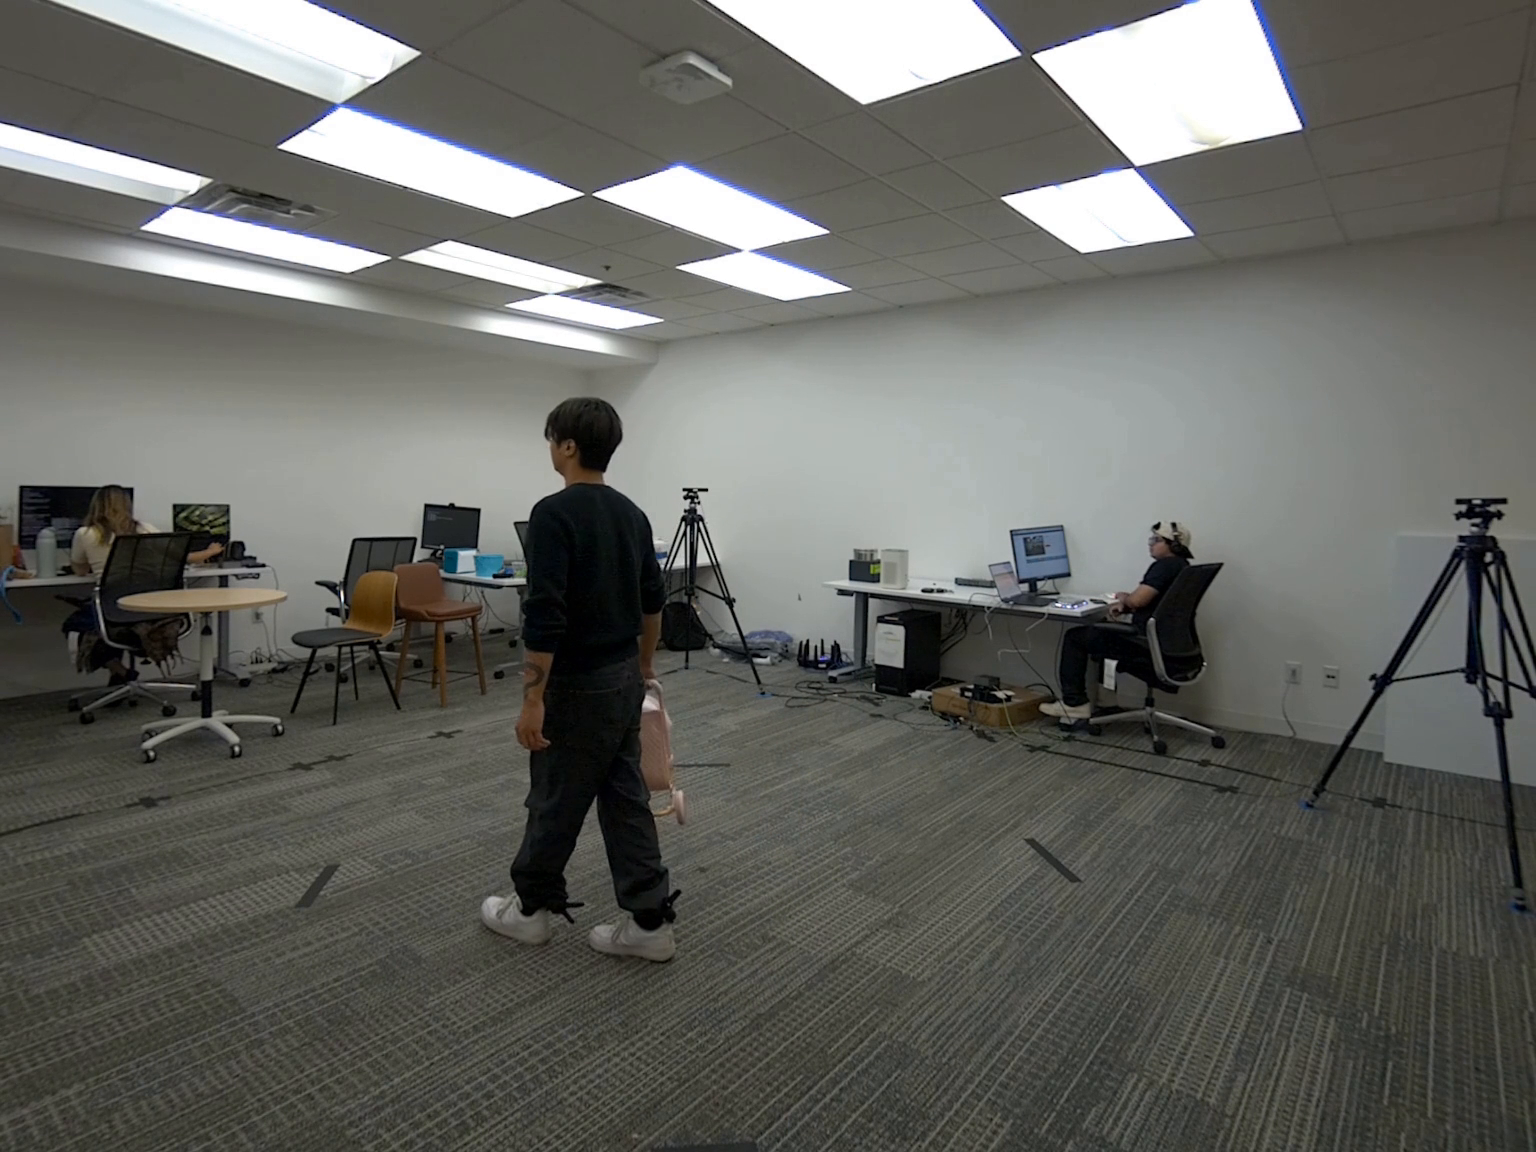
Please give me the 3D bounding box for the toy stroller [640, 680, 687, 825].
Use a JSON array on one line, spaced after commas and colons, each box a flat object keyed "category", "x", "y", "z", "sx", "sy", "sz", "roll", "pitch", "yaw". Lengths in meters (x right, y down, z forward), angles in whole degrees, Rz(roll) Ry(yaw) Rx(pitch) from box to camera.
[{"category": "toy stroller", "x": -0.436, "y": 0.635, "z": 2.935, "sx": 0.282, "sy": 0.543, "sz": 0.335, "roll": -8, "pitch": -14, "yaw": 1}]
